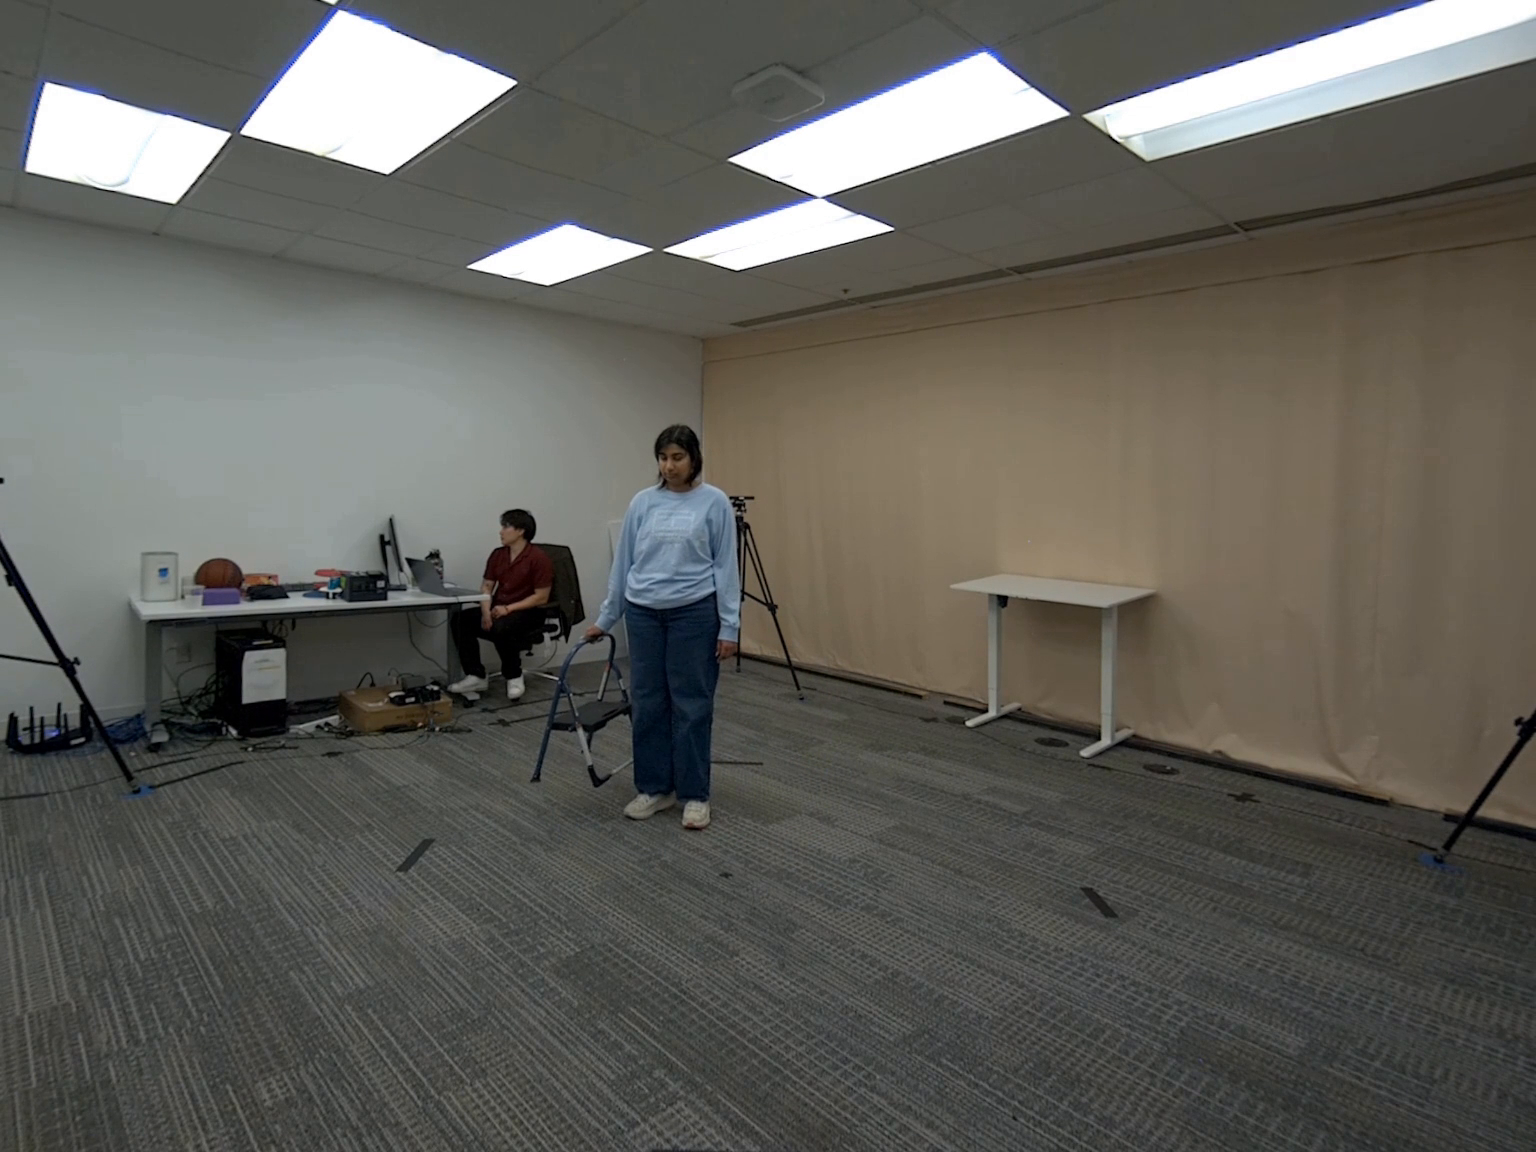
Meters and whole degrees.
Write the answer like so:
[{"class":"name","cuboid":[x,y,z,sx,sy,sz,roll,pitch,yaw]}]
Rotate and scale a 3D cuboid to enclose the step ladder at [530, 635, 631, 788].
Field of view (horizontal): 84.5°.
[{"class":"step ladder","cuboid":[-0.820,0.566,3.746,0.355,0.604,0.425,-2,5,23]}]
